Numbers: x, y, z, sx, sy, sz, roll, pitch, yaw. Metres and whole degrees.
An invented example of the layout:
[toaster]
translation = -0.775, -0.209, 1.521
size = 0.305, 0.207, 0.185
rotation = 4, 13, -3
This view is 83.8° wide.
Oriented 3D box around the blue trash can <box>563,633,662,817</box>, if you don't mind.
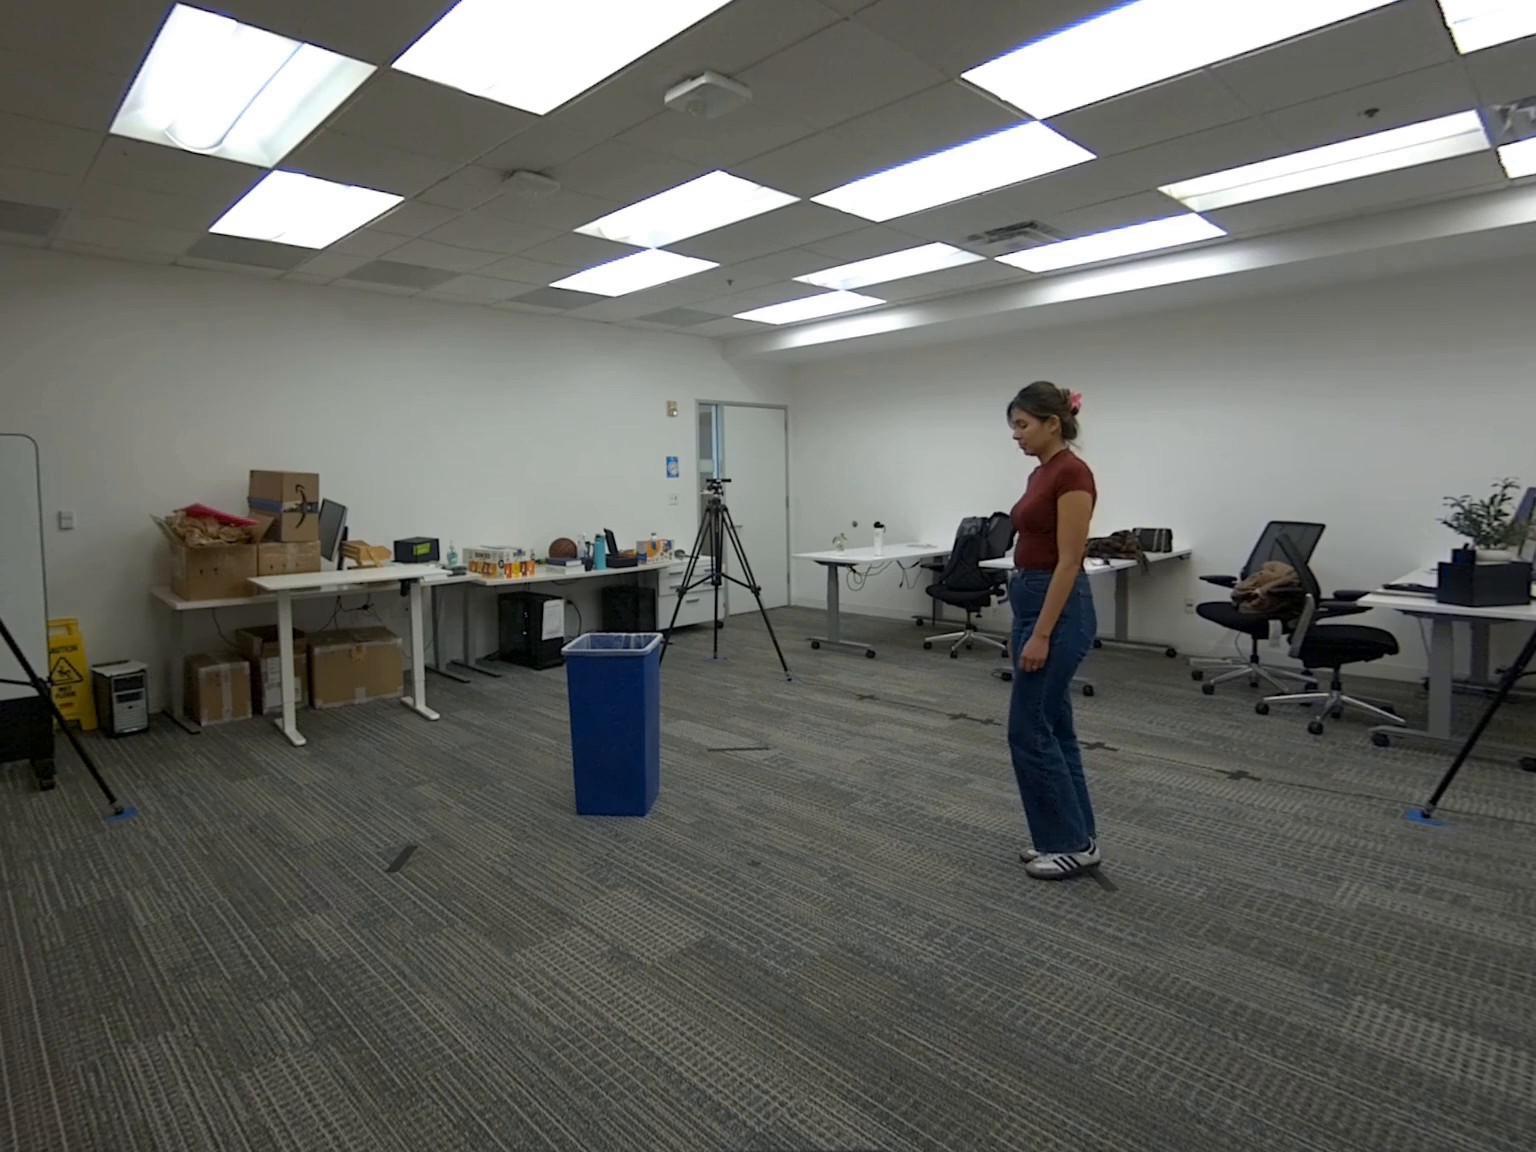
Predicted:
[blue trash can]
translation = -0.655, 0.633, 3.702
size = 0.381, 0.711, 0.373
rotation = -1, 4, 7
